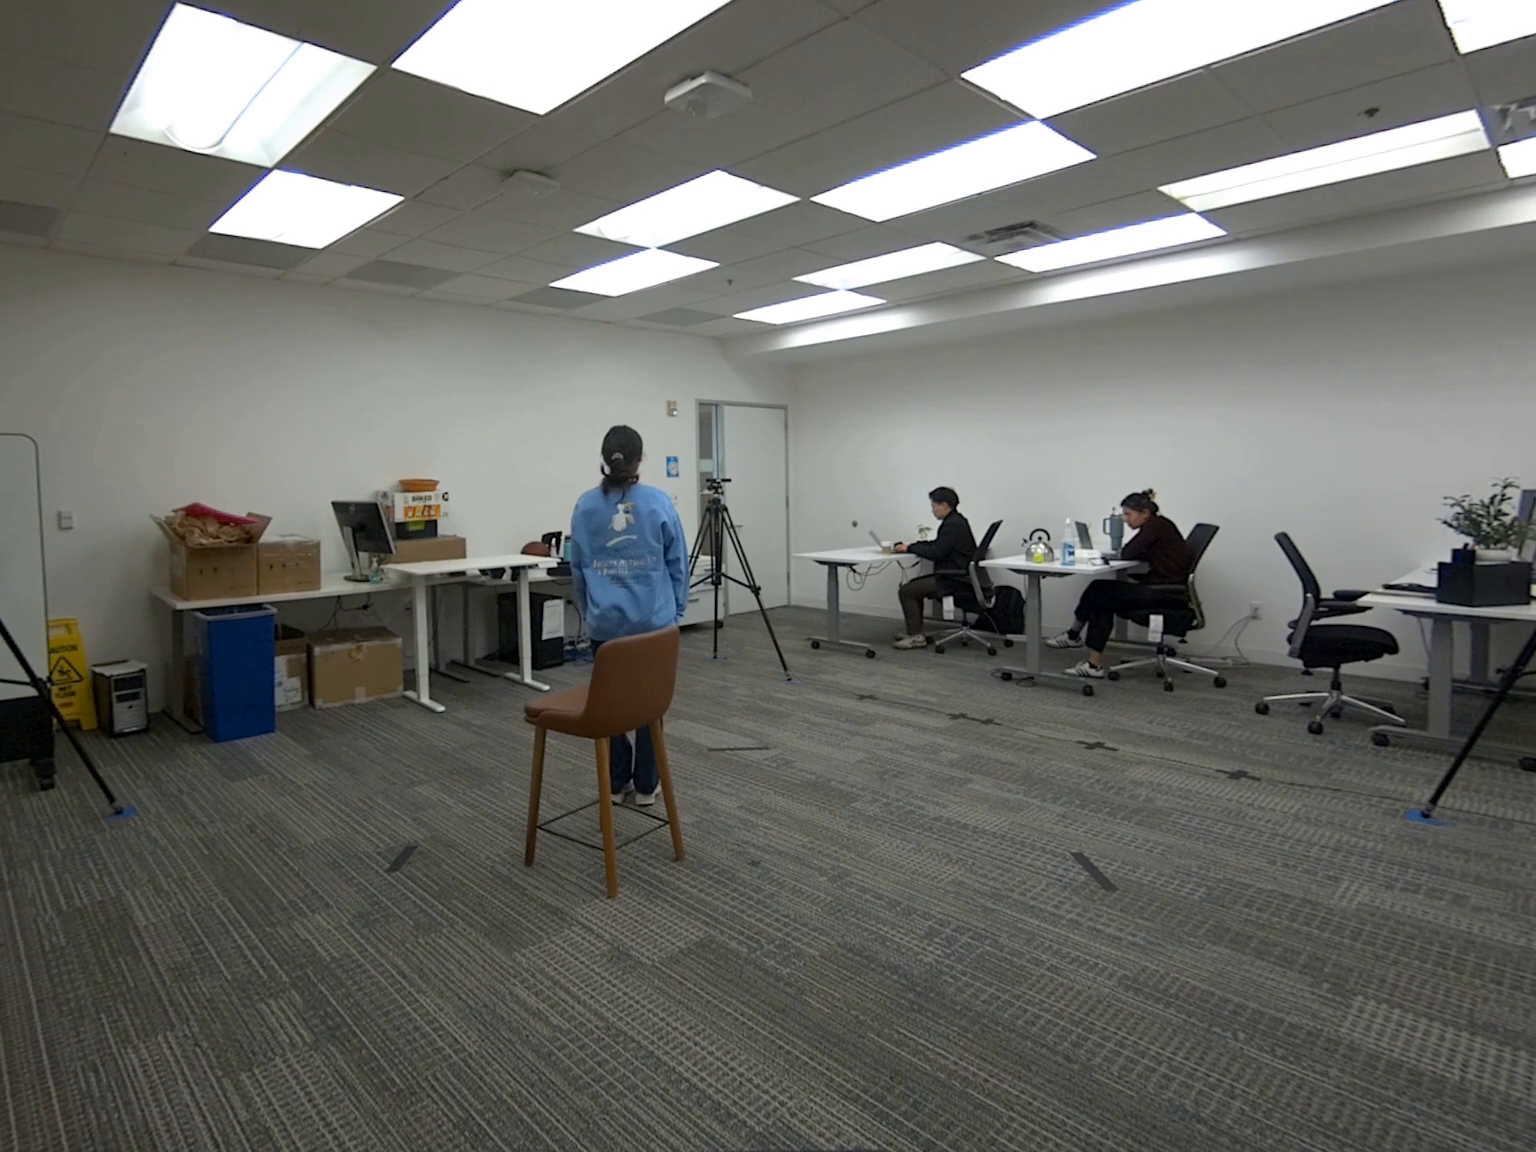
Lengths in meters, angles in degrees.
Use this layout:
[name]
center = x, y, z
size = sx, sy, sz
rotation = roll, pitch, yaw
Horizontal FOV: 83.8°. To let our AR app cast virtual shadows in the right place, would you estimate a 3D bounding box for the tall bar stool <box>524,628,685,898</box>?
[tall bar stool]
center = -0.603, 0.622, 3.115
size = 0.482, 0.885, 0.445
rotation = 4, 7, 37
